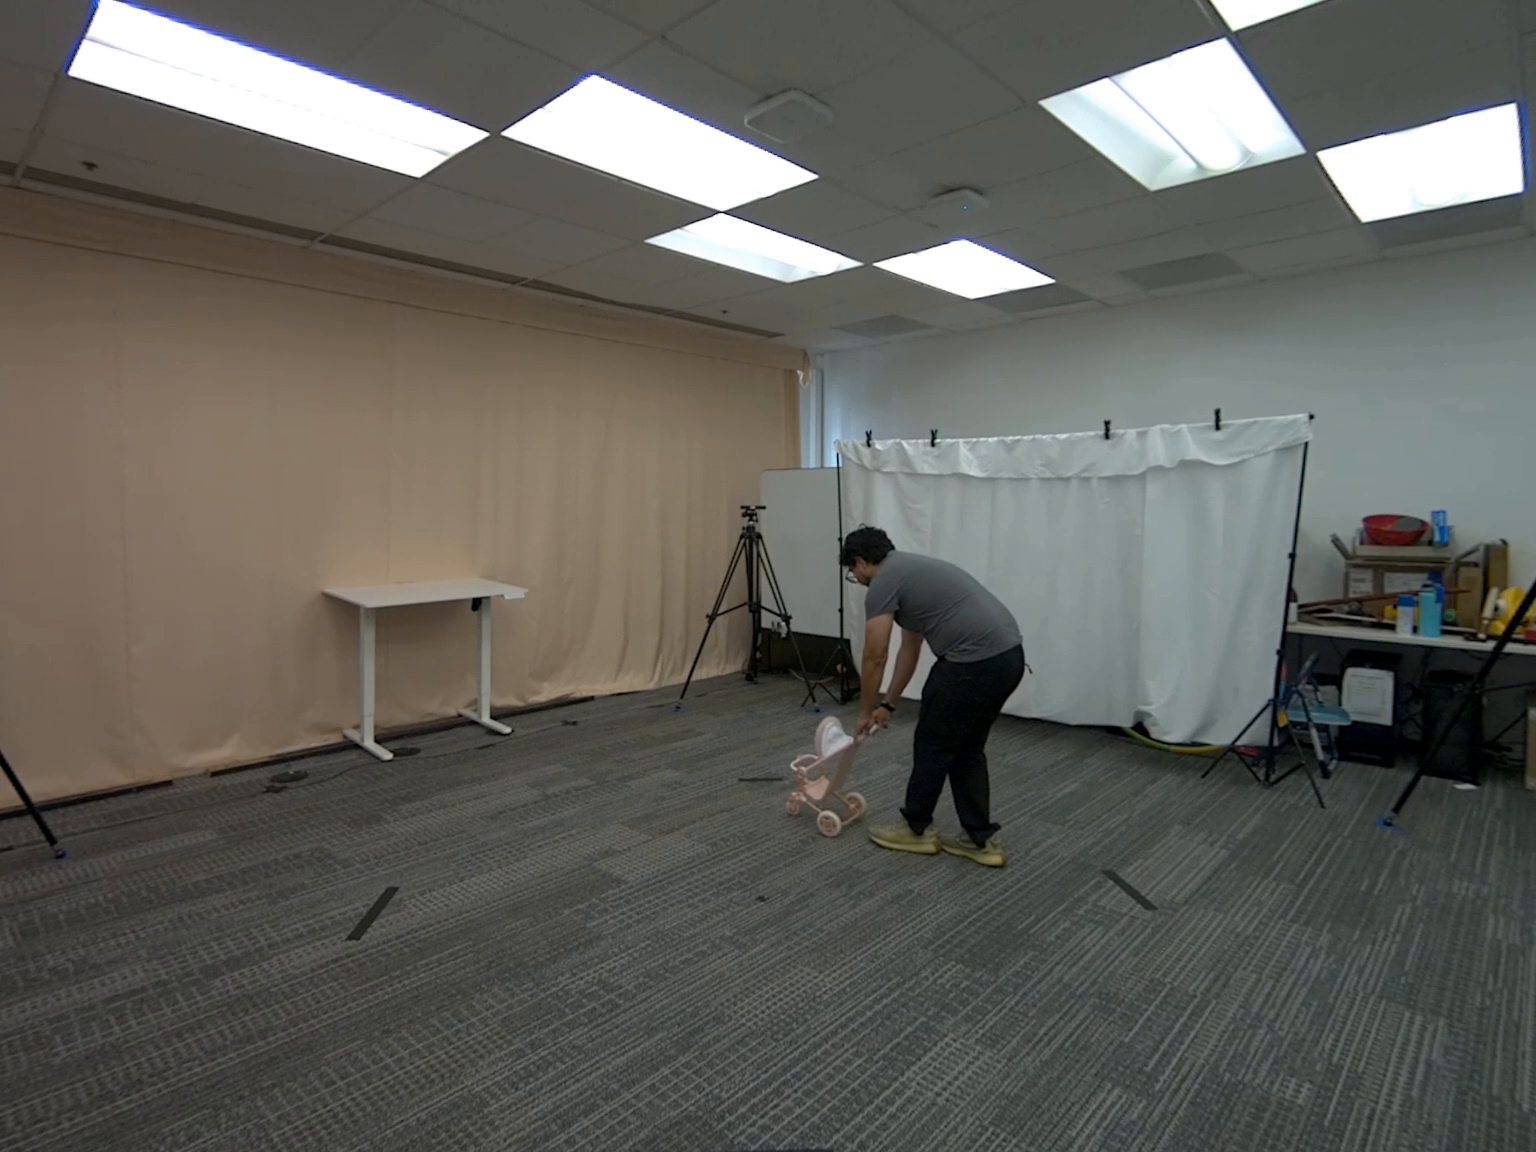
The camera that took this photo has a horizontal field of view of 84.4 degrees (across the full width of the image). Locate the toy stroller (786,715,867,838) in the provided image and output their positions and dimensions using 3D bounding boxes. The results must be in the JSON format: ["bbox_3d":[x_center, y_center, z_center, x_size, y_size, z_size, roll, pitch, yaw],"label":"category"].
[{"bbox_3d":[0.266,0.853,3.673,0.353,0.532,0.273,19,15,36],"label":"toy stroller"}]
